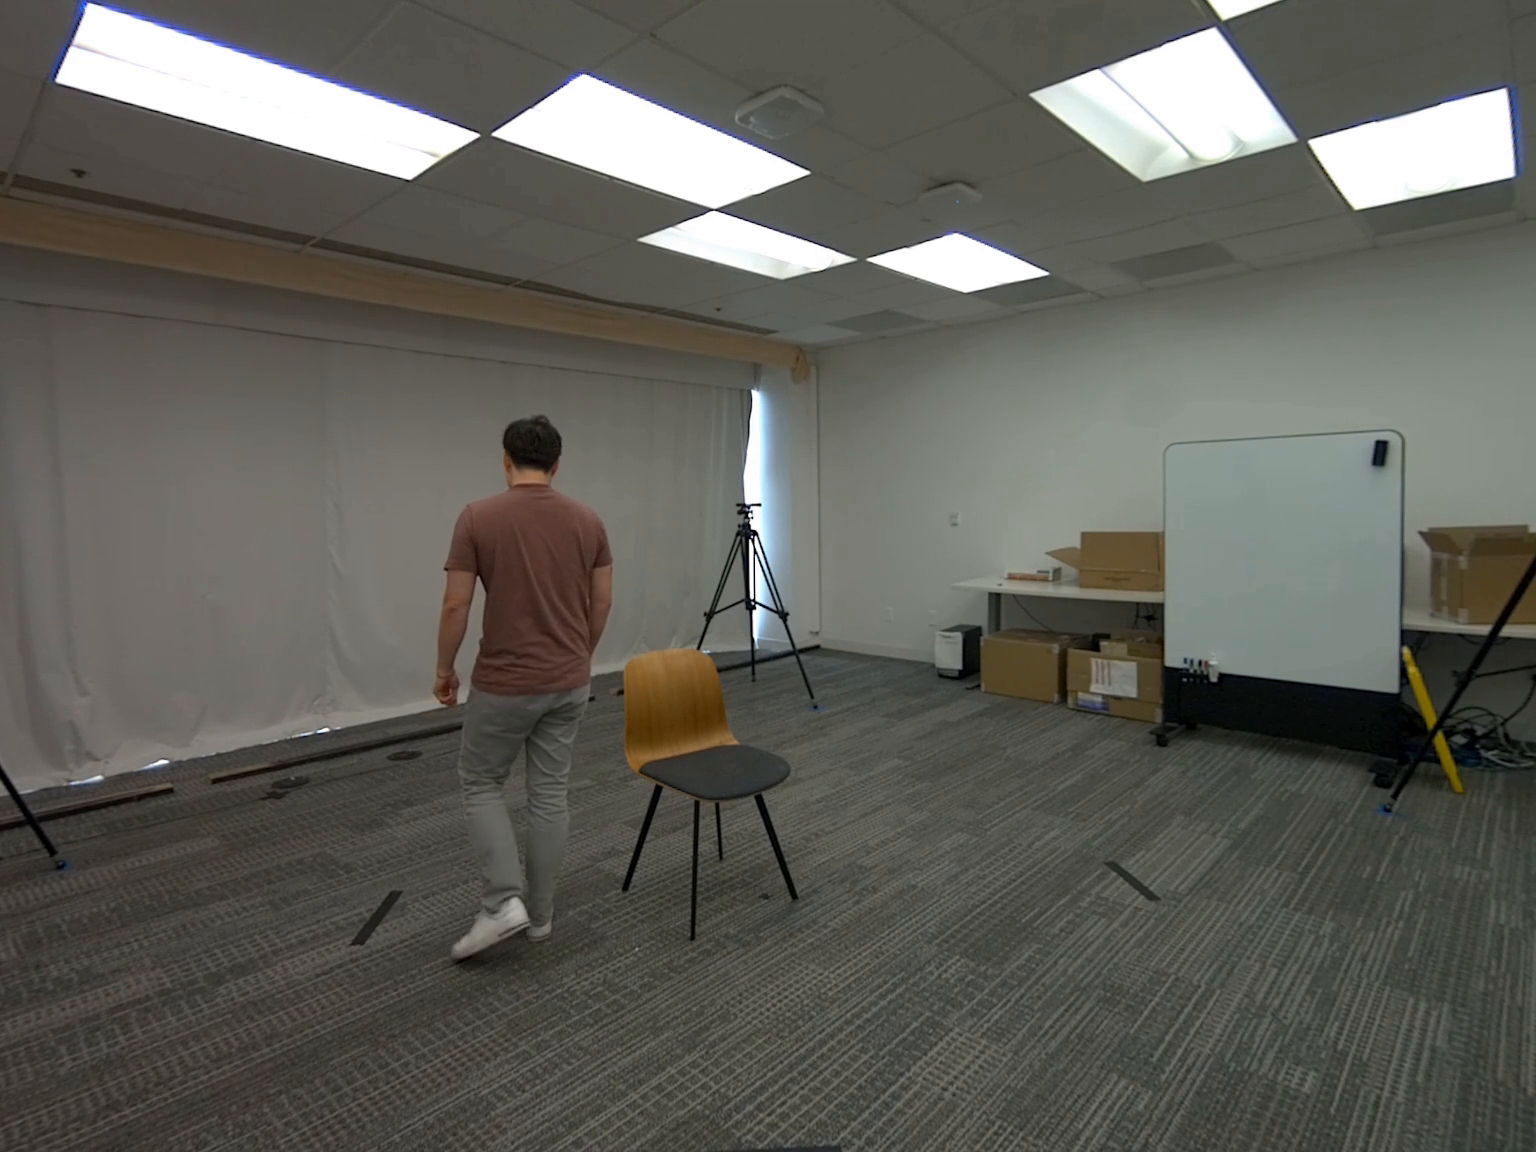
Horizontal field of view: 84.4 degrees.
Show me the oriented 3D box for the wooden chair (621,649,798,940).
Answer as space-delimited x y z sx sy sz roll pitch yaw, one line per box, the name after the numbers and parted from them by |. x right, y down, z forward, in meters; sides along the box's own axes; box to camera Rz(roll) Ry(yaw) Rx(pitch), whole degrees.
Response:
-0.214 0.715 2.965 0.464 0.877 0.539 -4 0 -38 | wooden chair
